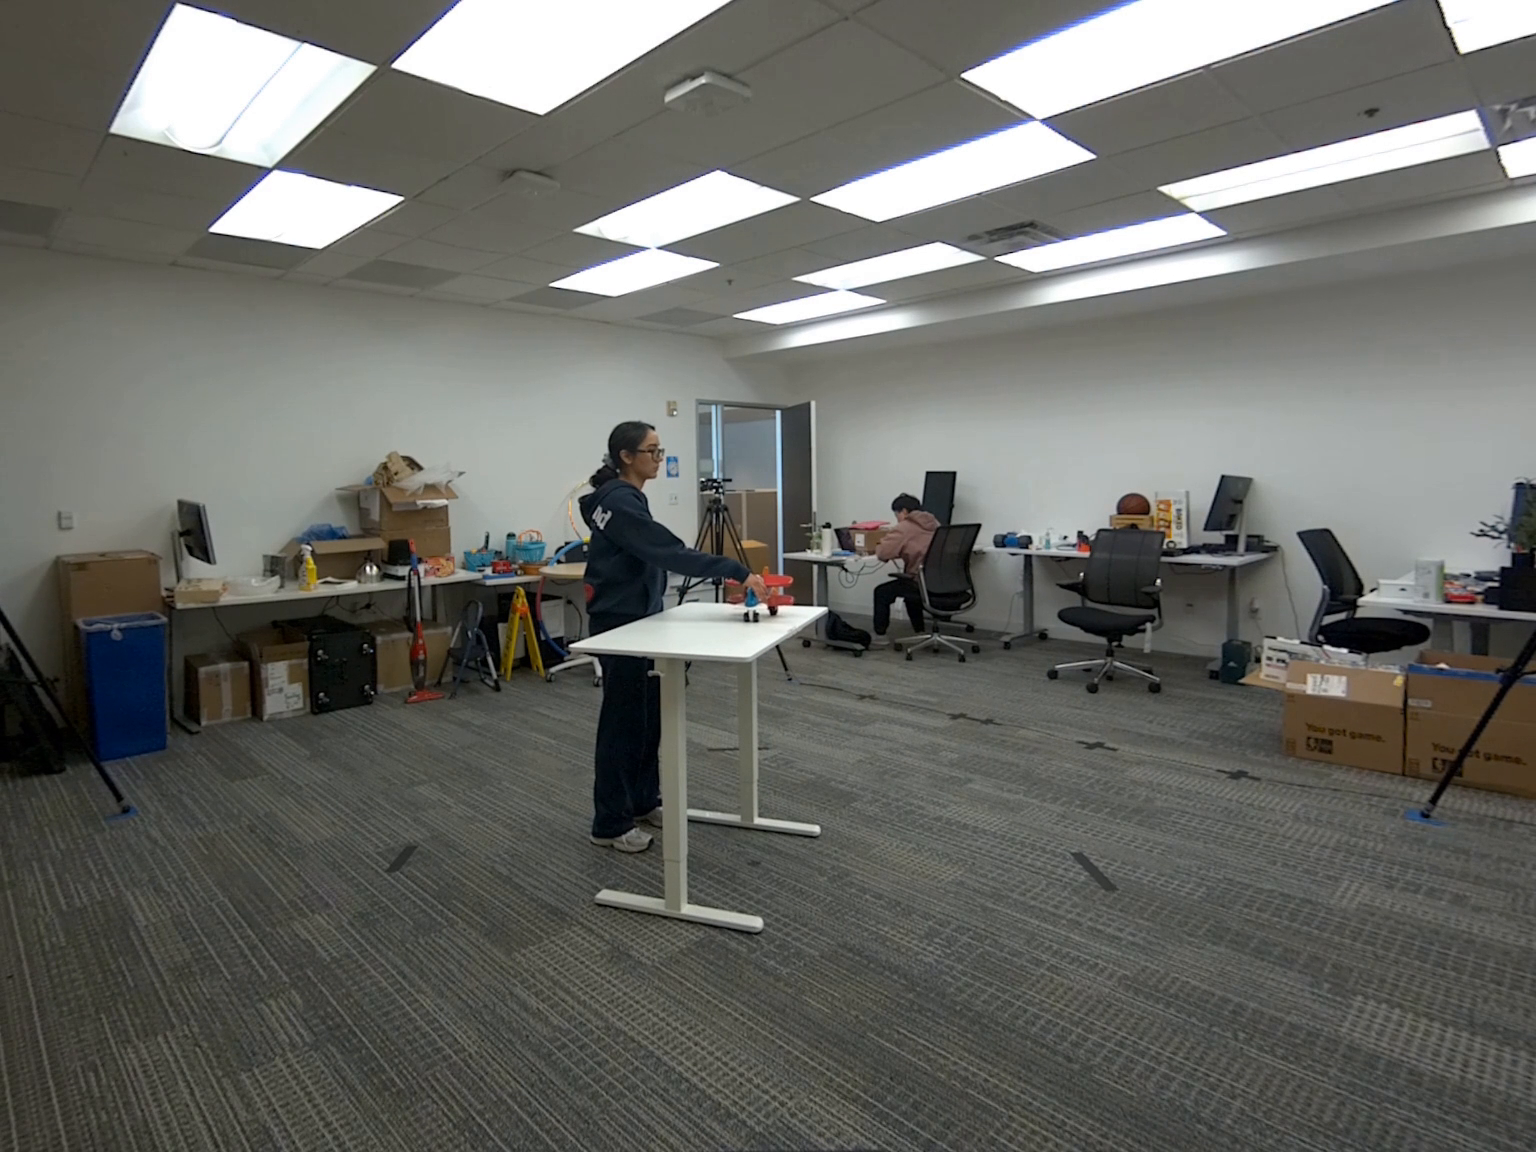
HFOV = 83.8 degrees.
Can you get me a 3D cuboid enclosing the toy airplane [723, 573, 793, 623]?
[{"bbox_3d":[-0.020,0.083,3.152,0.248,0.156,0.263,-1,5,-13],"label":"toy airplane"}]
